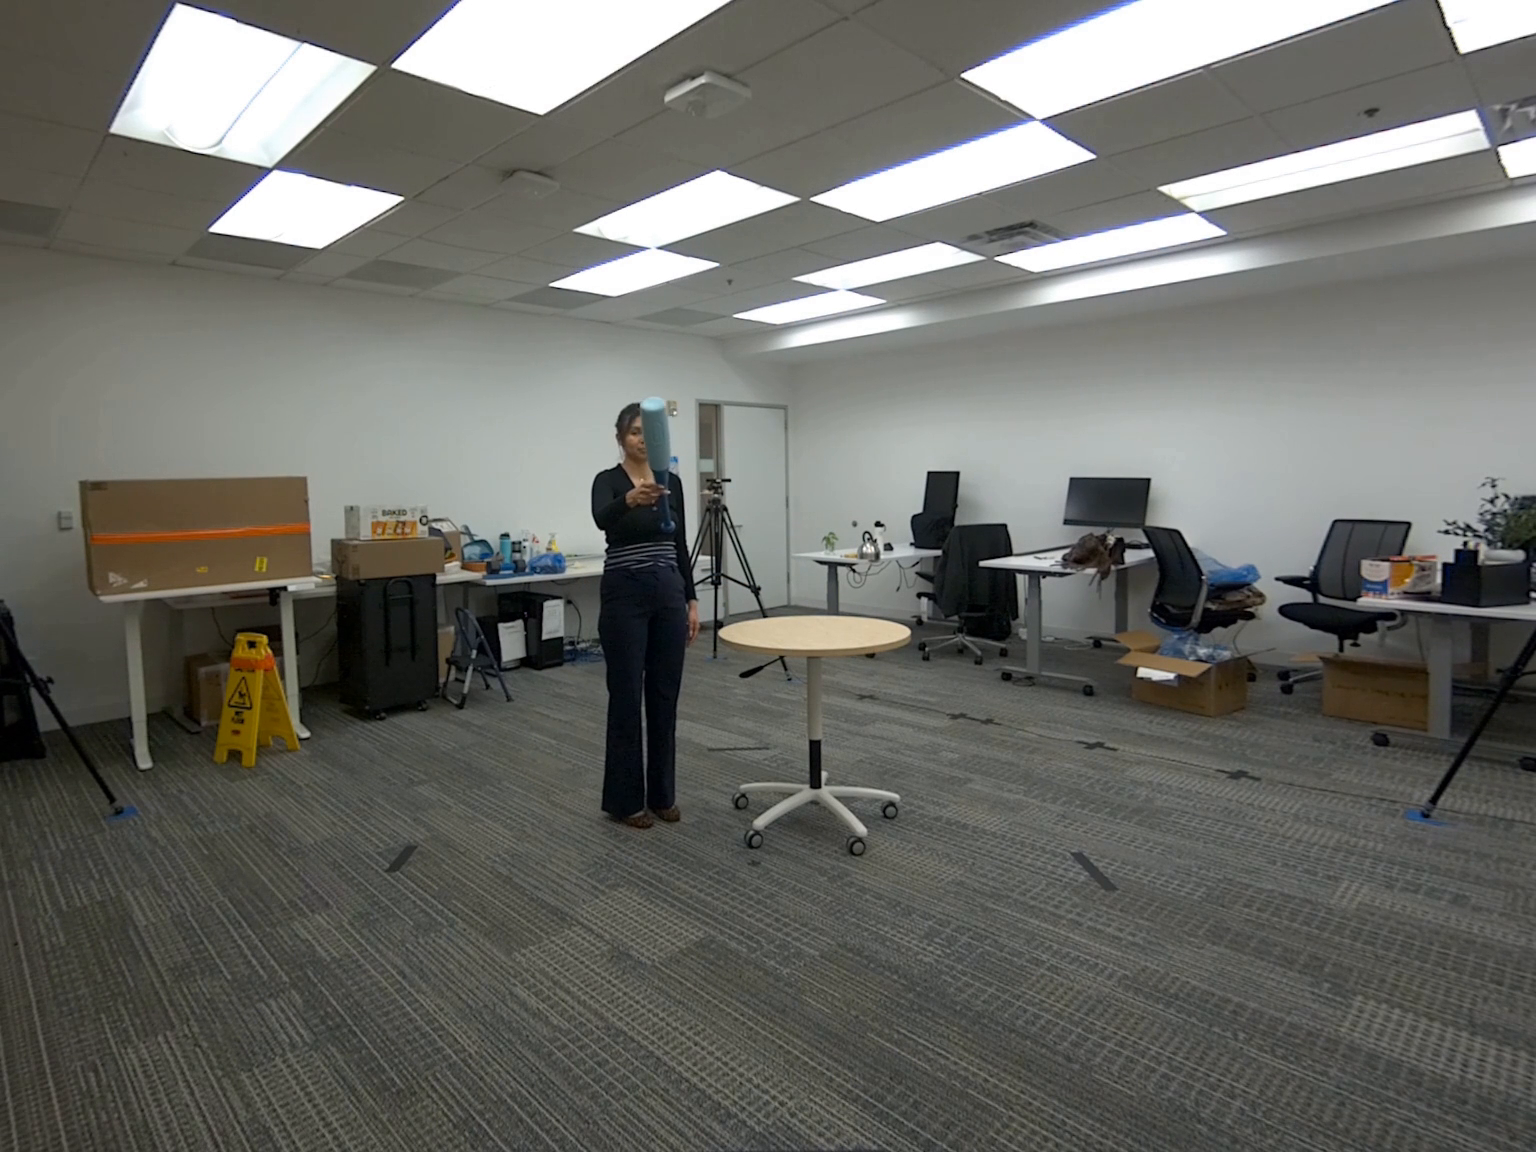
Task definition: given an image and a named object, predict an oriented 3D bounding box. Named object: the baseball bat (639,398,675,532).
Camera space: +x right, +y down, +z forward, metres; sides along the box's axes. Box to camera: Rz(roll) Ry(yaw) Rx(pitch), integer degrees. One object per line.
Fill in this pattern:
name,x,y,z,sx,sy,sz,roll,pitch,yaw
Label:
baseball bat,-0.363,-0.358,2.879,0.089,0.528,0.091,-1,44,-1
